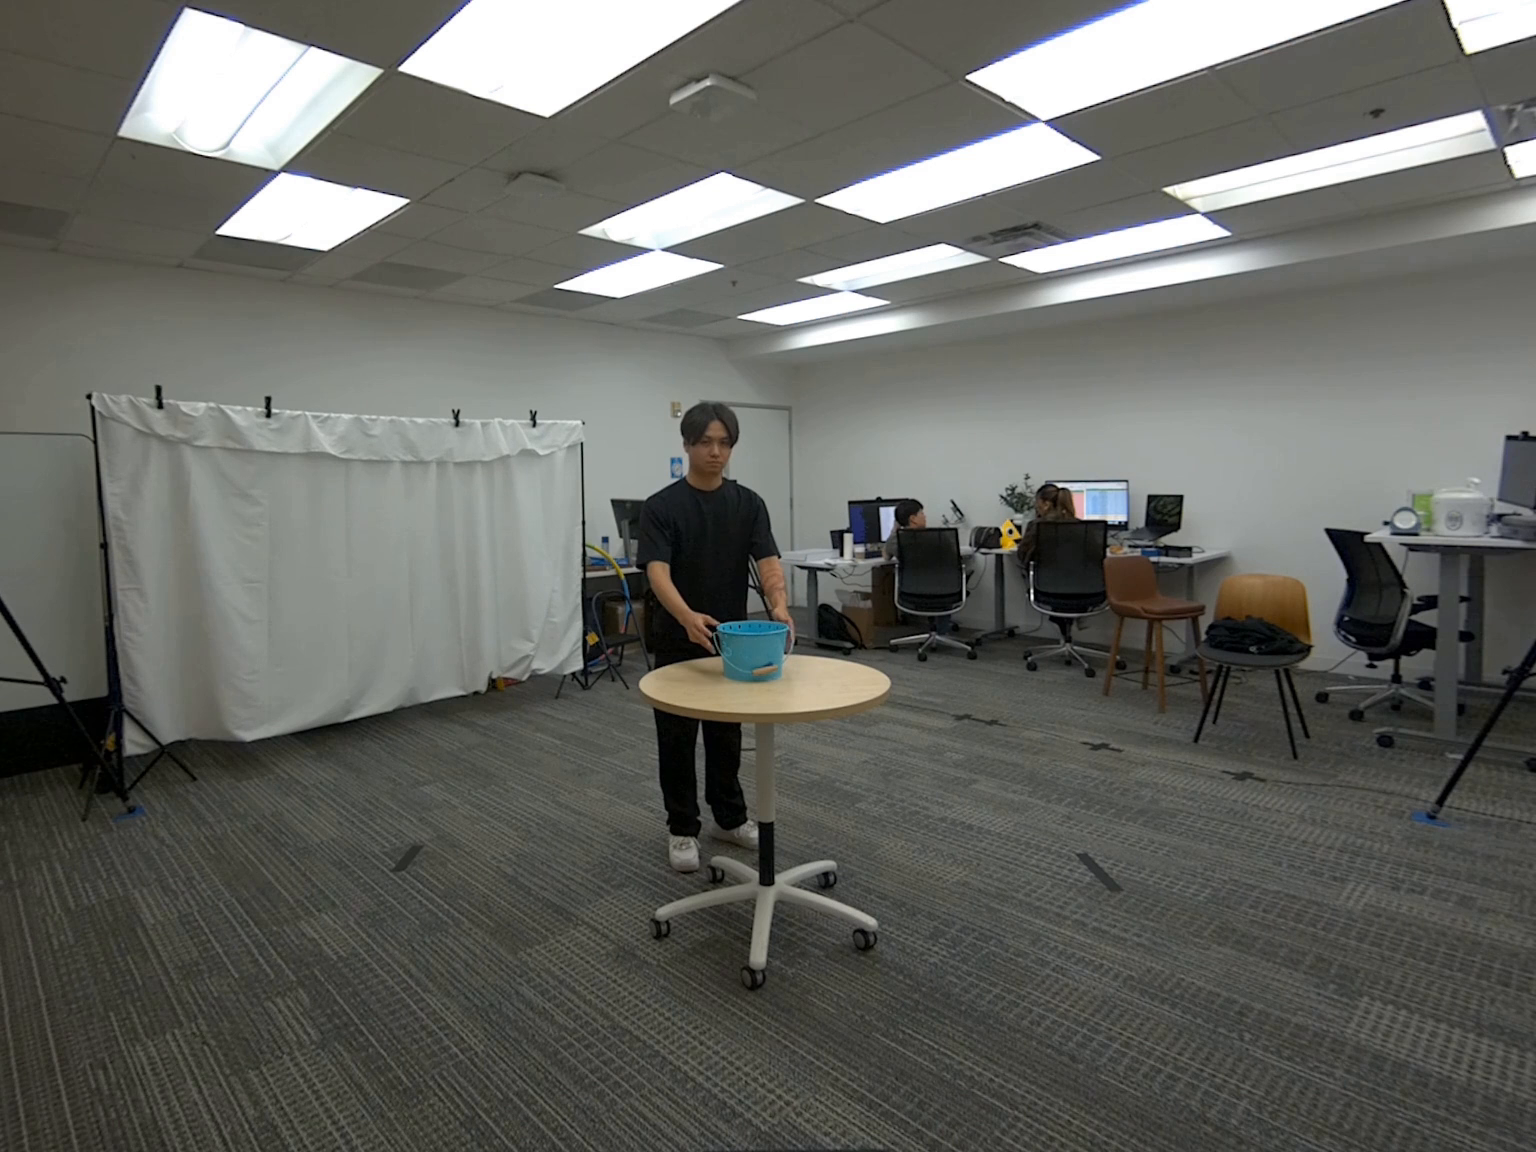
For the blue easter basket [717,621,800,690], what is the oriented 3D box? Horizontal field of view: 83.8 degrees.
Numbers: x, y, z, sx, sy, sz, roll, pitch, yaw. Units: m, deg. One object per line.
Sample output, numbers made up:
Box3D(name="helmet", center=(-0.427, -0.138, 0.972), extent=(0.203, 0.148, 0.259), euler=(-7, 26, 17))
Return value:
Box3D(name="blue easter basket", center=(-0.036, 0.244, 2.683), extent=(0.243, 0.155, 0.245), euler=(-1, 8, -2))
